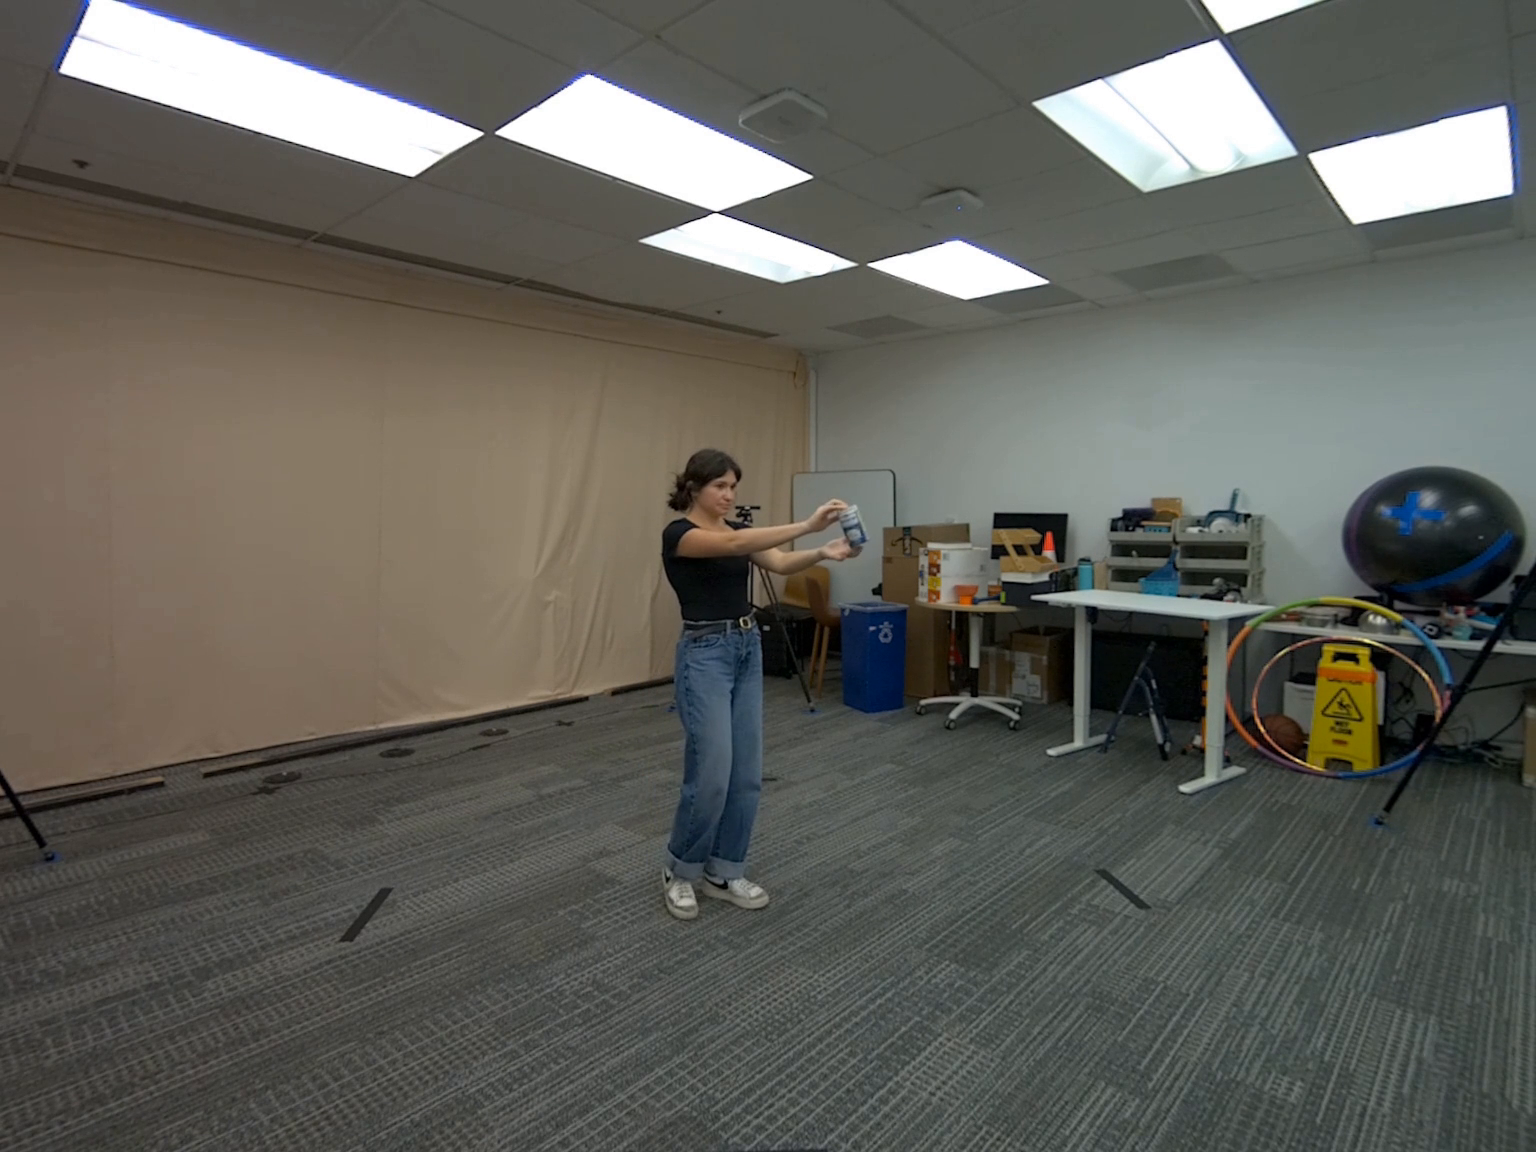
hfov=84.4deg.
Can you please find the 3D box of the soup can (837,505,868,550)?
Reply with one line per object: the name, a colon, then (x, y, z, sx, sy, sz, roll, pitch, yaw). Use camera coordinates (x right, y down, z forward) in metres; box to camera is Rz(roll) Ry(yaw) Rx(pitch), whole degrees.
soup can: (0.265, -0.151, 2.563, 0.067, 0.121, 0.067, -16, 4, -1)
